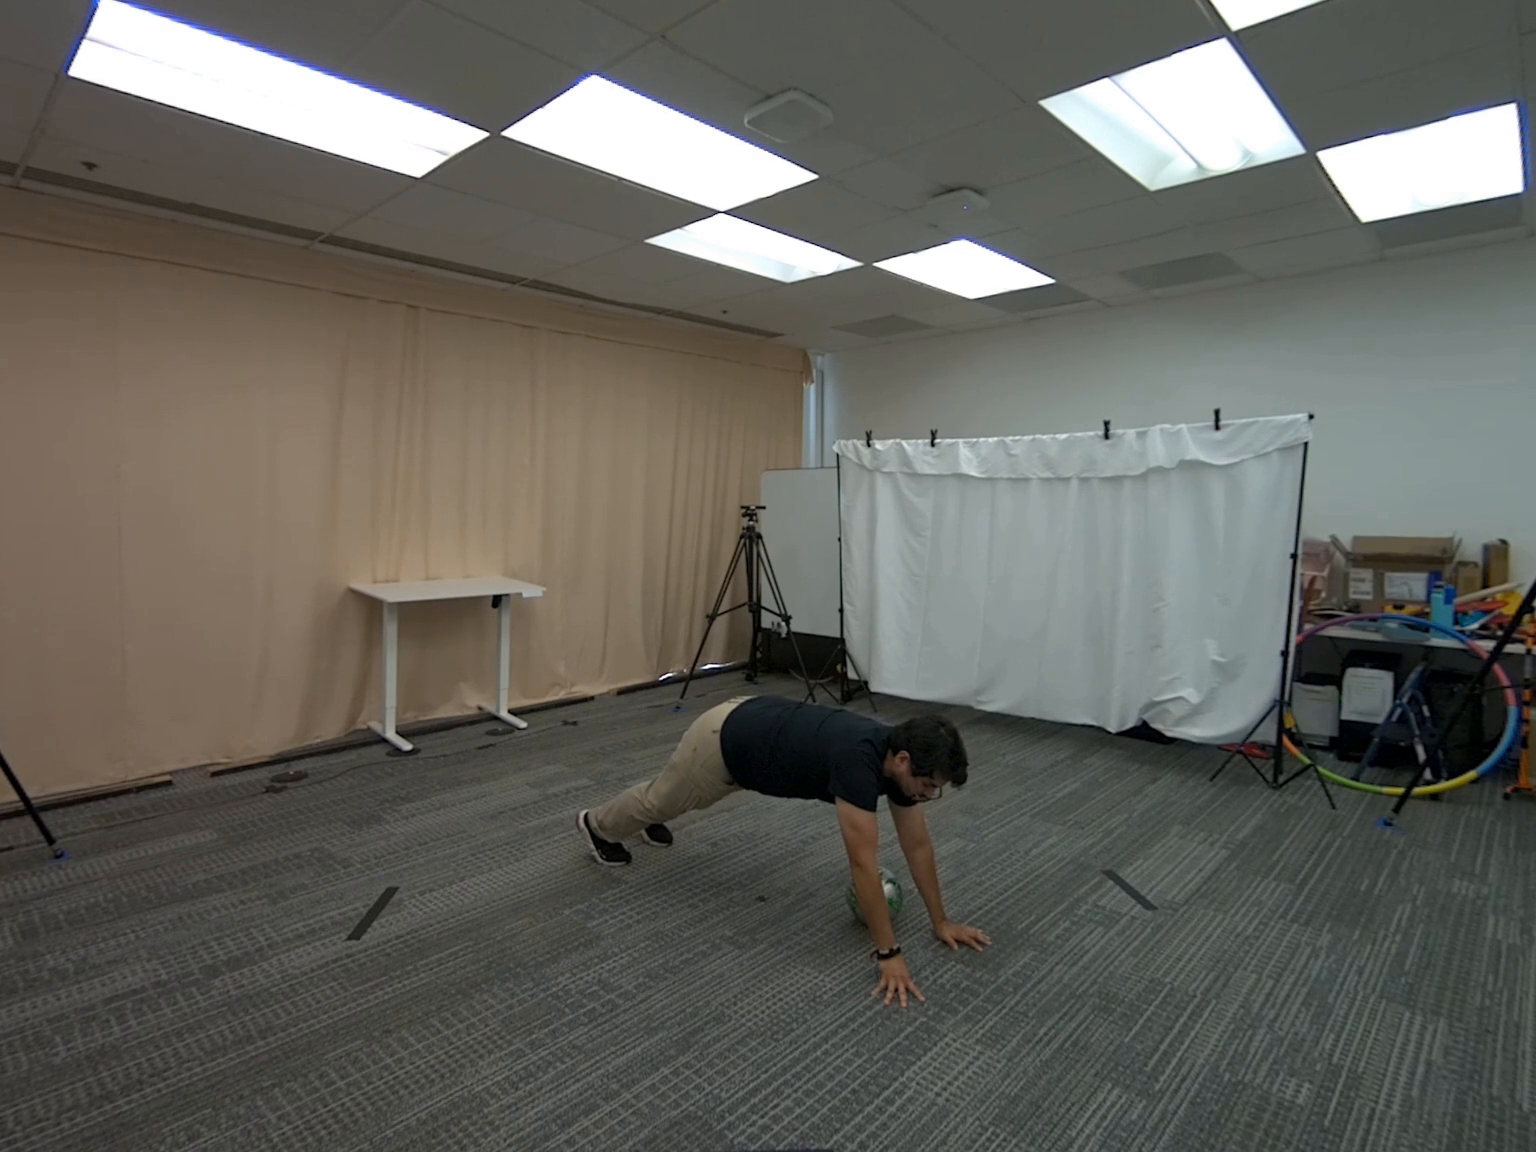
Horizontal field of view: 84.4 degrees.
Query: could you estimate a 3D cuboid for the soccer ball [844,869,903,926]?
[{"bbox_3d":[0.366,1.071,2.805,0.187,0.187,0.188,0,4,-2],"label":"soccer ball"}]
